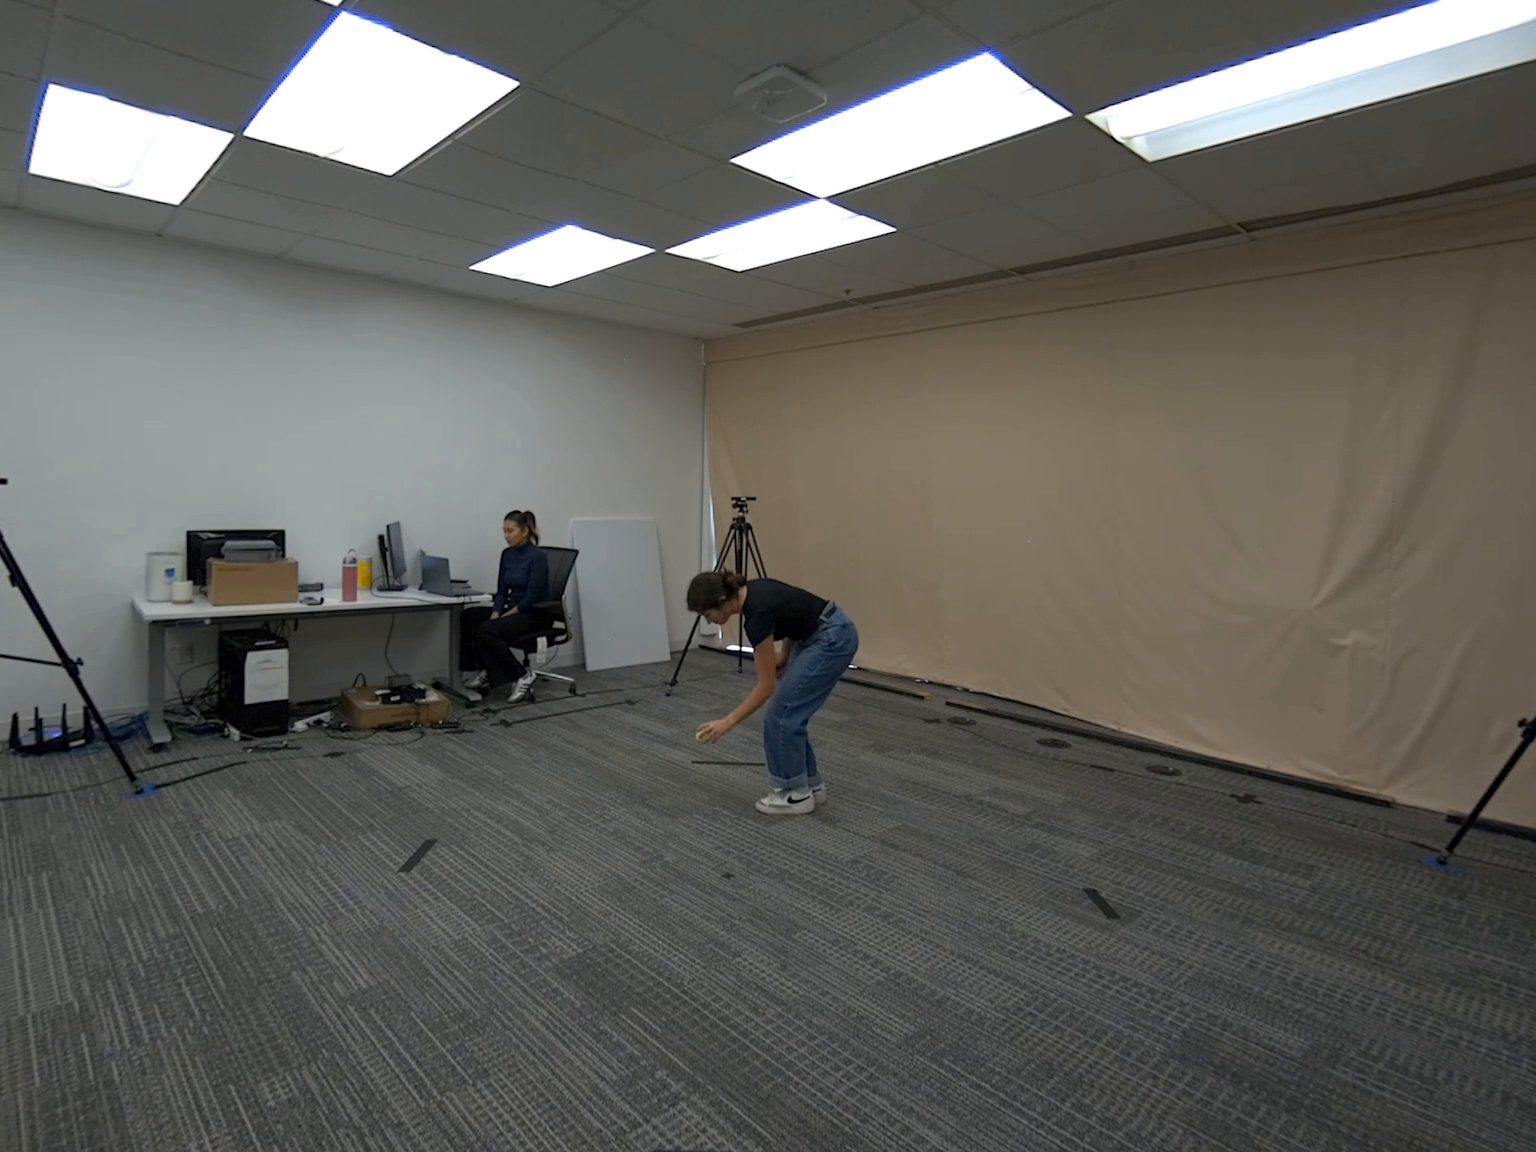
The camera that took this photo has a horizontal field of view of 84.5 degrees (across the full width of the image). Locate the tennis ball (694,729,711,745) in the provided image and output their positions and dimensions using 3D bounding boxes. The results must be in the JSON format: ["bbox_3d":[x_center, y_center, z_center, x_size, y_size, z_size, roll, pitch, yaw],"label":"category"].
[{"bbox_3d":[-0.288,0.710,3.609,0.066,0.066,0.067,1,4,-1],"label":"tennis ball"}]
